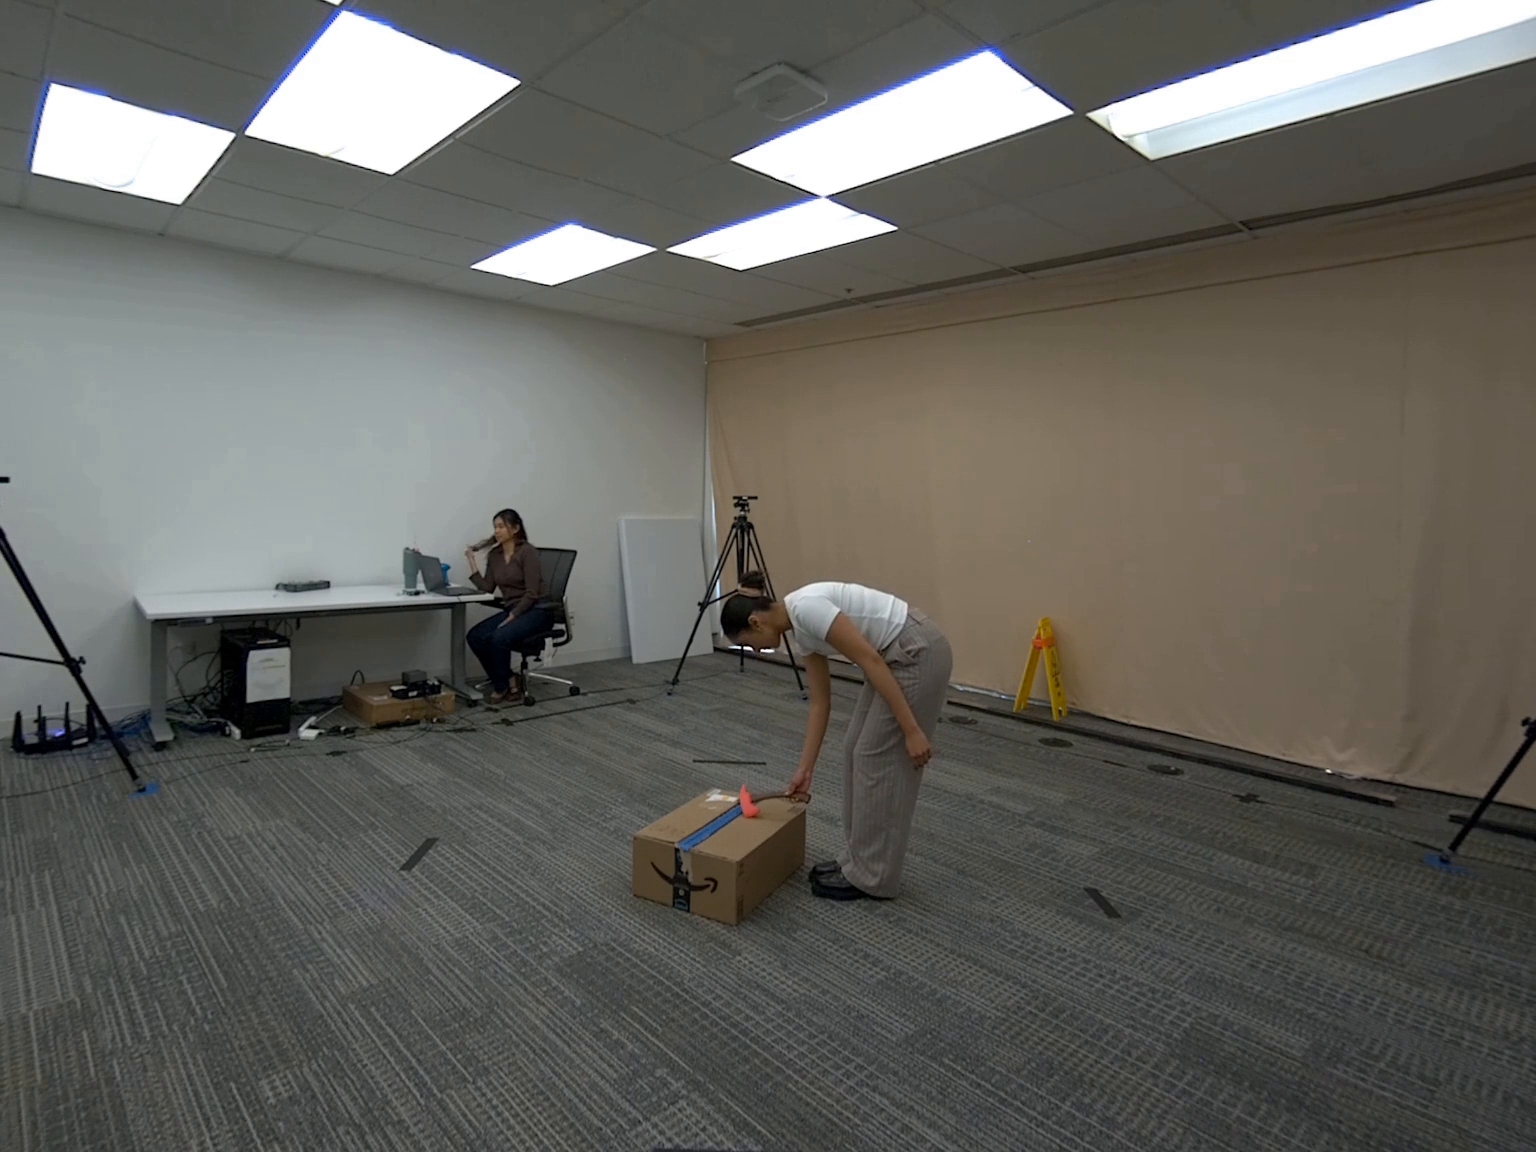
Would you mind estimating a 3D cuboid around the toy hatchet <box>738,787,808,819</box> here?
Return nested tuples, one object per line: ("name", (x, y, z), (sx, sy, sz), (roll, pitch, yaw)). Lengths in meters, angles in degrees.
("toy hatchet", (0.016, 0.842, 3.089), (0.274, 0.029, 0.133), (2, 44, 16))
